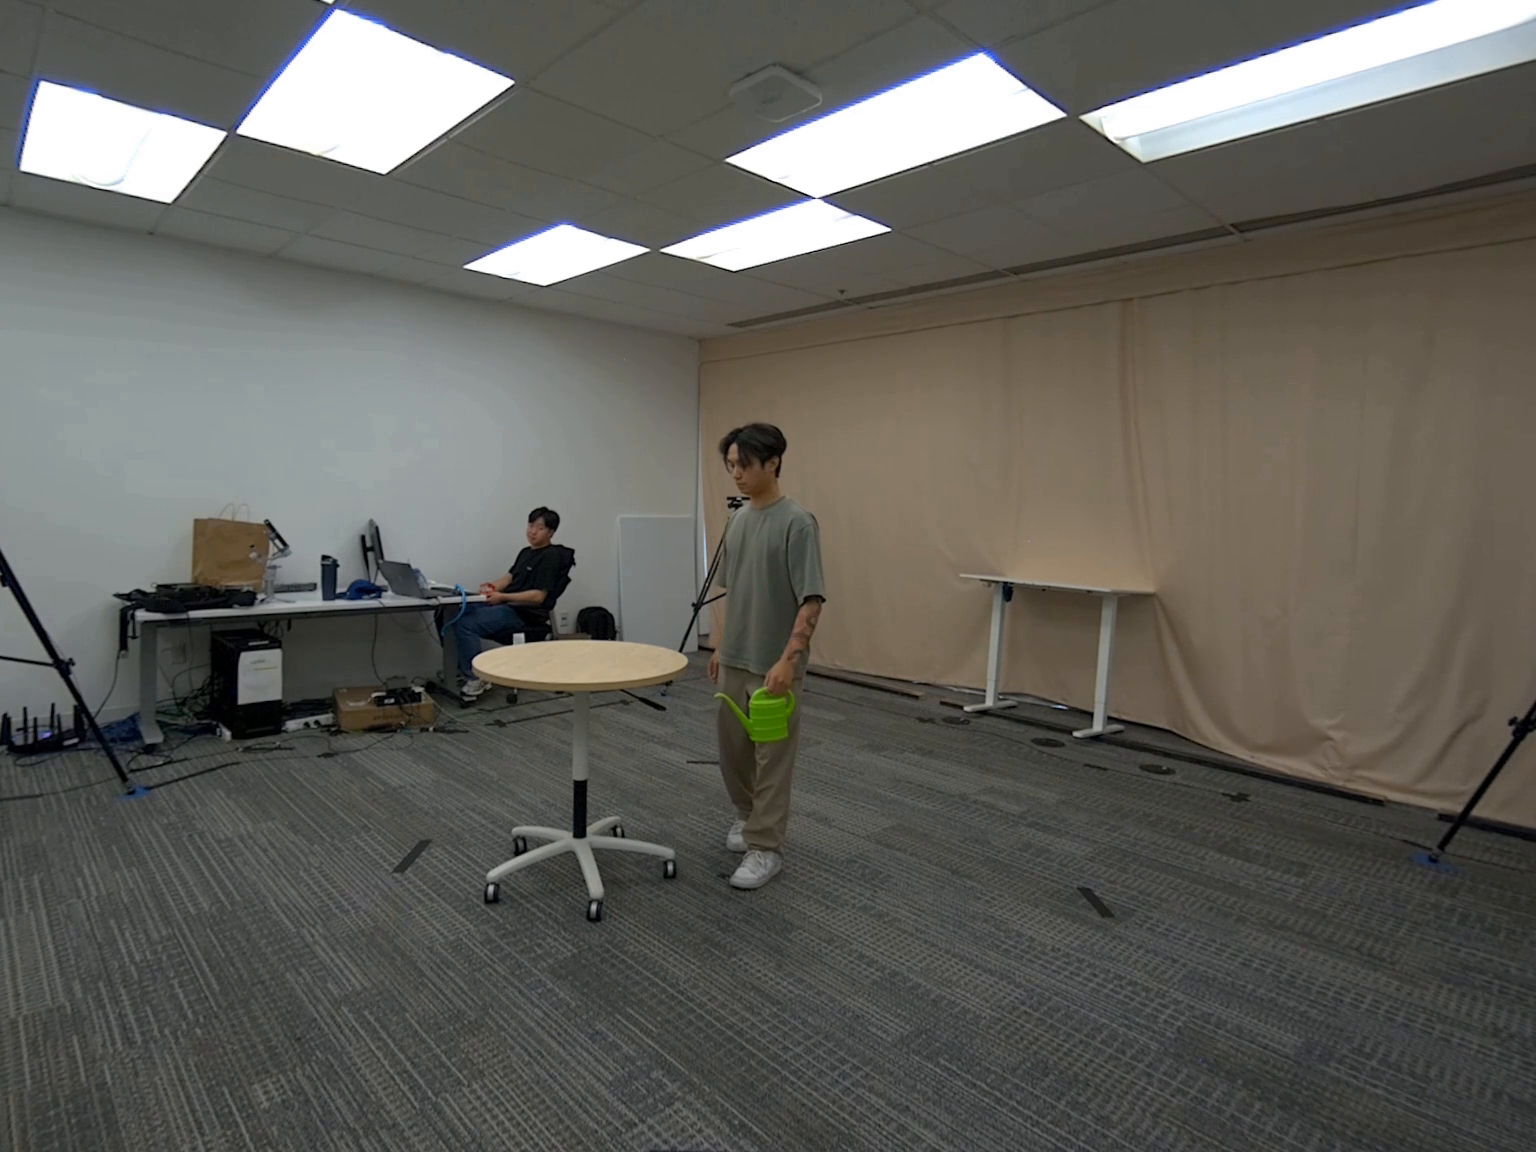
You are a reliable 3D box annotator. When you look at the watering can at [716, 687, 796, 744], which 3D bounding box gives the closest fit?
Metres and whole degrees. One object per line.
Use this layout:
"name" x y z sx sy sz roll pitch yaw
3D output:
"watering can" -0.060 0.458 2.801 0.276 0.176 0.099 -2 7 -8
